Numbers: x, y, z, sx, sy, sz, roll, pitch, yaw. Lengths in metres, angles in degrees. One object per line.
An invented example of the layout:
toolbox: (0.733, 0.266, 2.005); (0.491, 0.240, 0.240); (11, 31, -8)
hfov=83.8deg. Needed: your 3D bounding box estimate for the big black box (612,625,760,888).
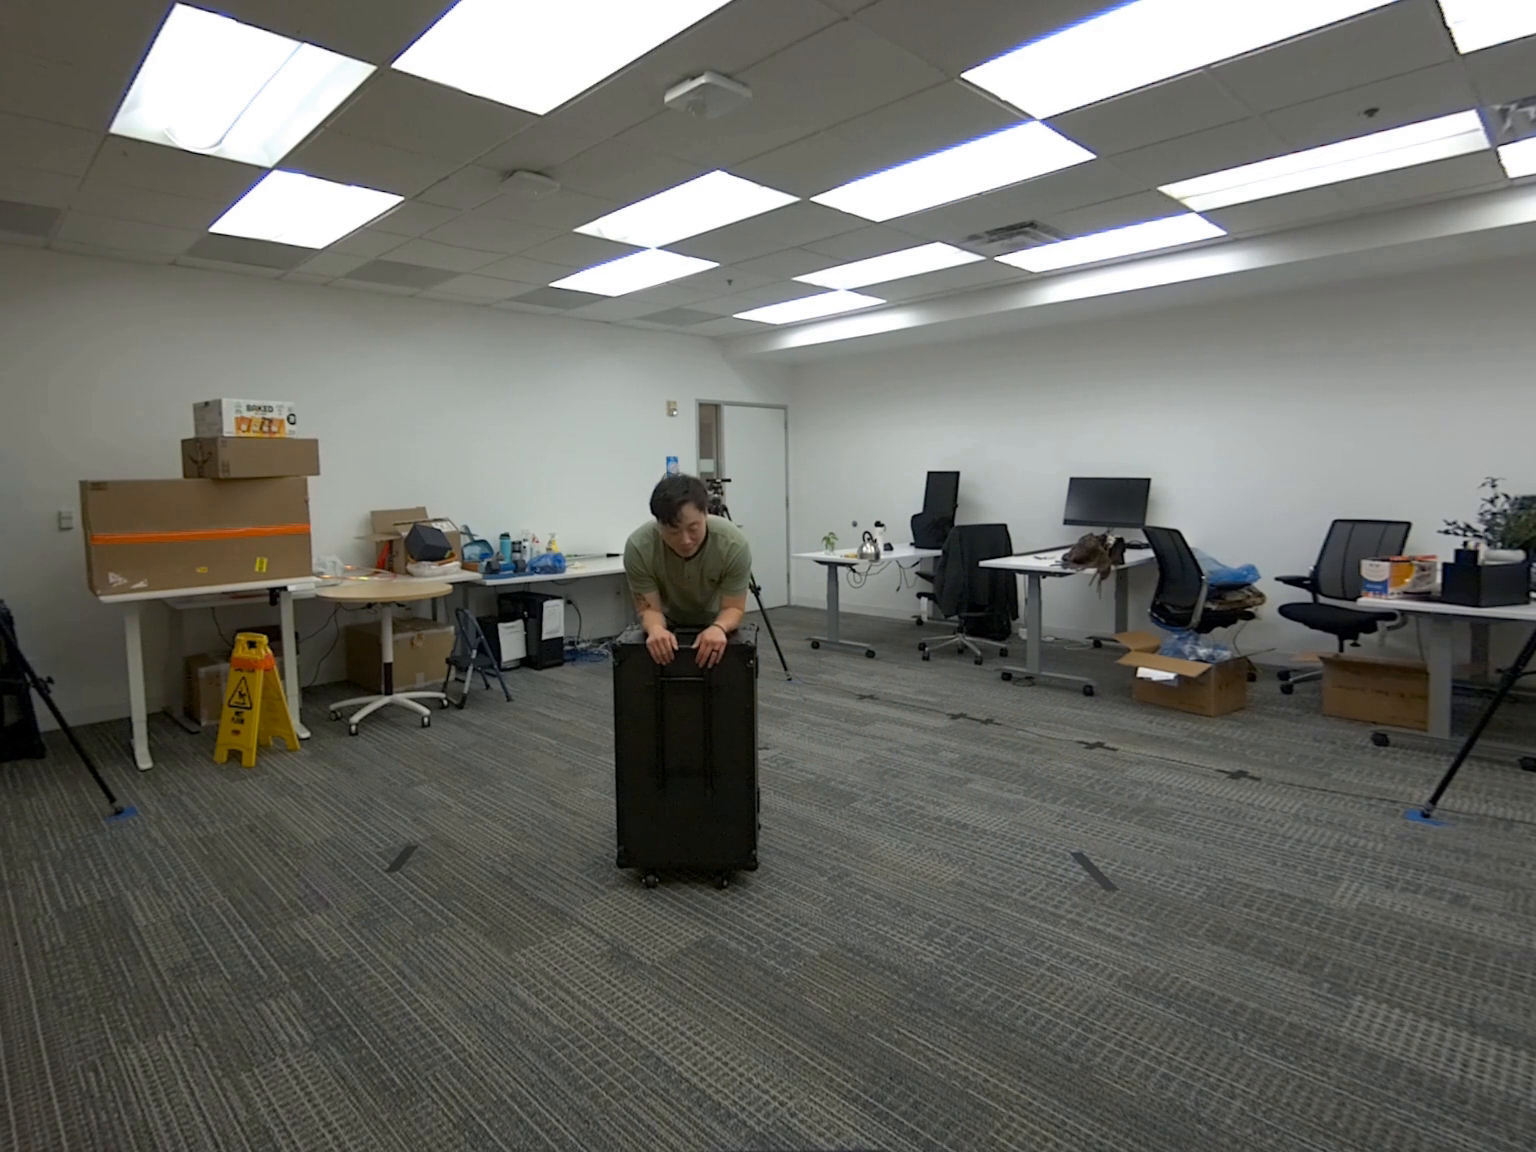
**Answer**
big black box: (-0.271, 0.636, 3.042); (0.523, 0.858, 0.396); (0, 4, 2)
